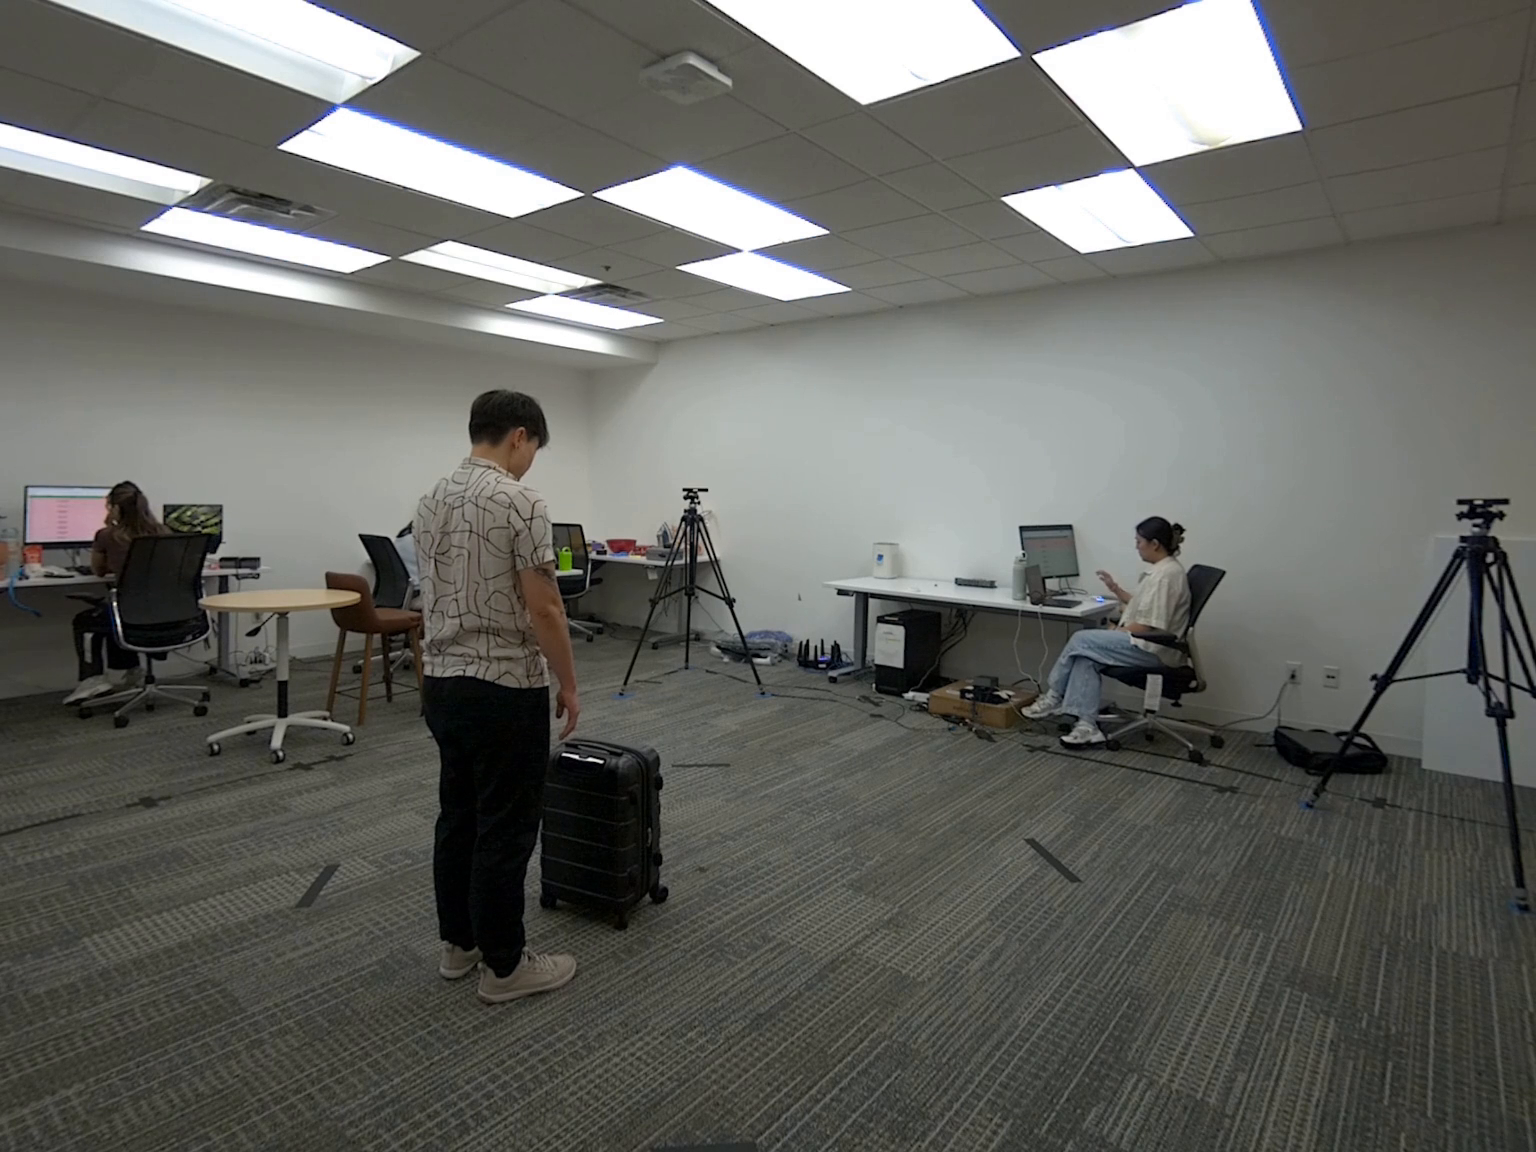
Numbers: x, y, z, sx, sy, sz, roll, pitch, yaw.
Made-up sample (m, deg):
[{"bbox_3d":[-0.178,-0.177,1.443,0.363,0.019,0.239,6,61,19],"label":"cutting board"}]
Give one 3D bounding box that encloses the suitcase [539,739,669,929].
[{"bbox_3d":[-0.562,0.817,2.808,0.385,0.548,0.243,2,4,26],"label":"suitcase"}]
